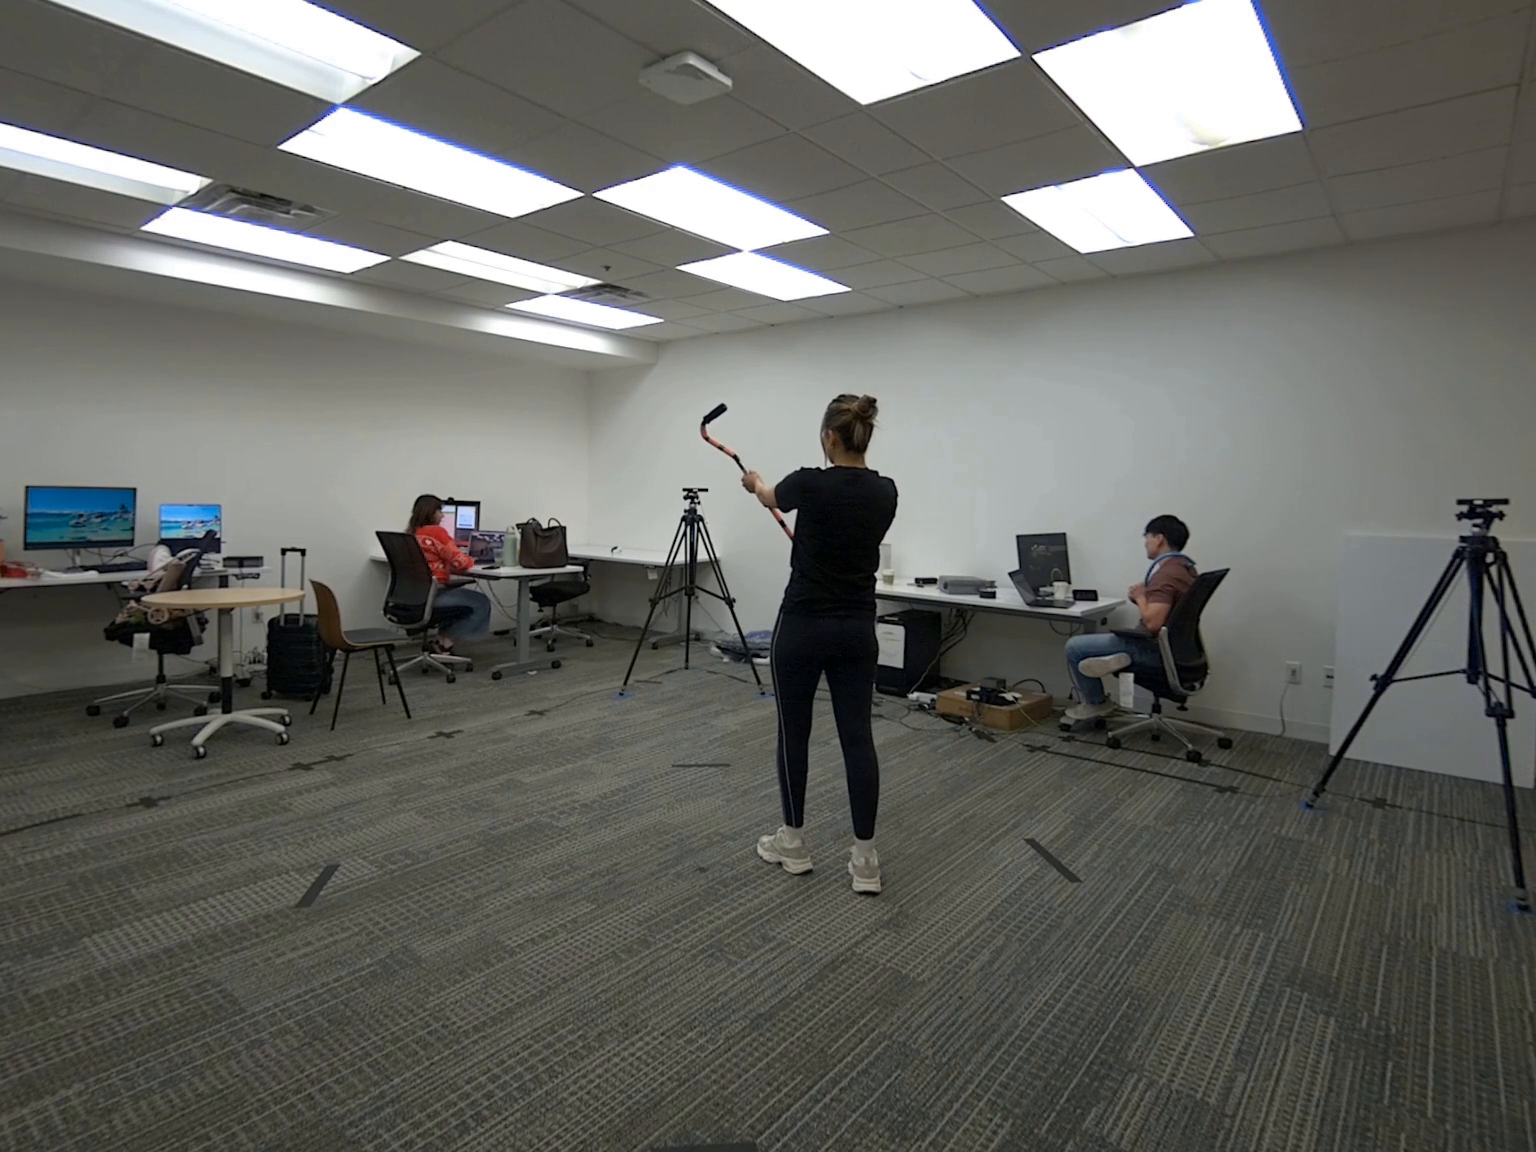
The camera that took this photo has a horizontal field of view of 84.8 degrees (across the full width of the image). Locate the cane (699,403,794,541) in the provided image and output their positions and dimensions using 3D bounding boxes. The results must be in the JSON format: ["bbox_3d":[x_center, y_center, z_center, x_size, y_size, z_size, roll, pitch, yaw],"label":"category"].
[{"bbox_3d":[-0.014,-0.303,3.541,0.208,0.904,0.151,-34,3,29],"label":"cane"}]
